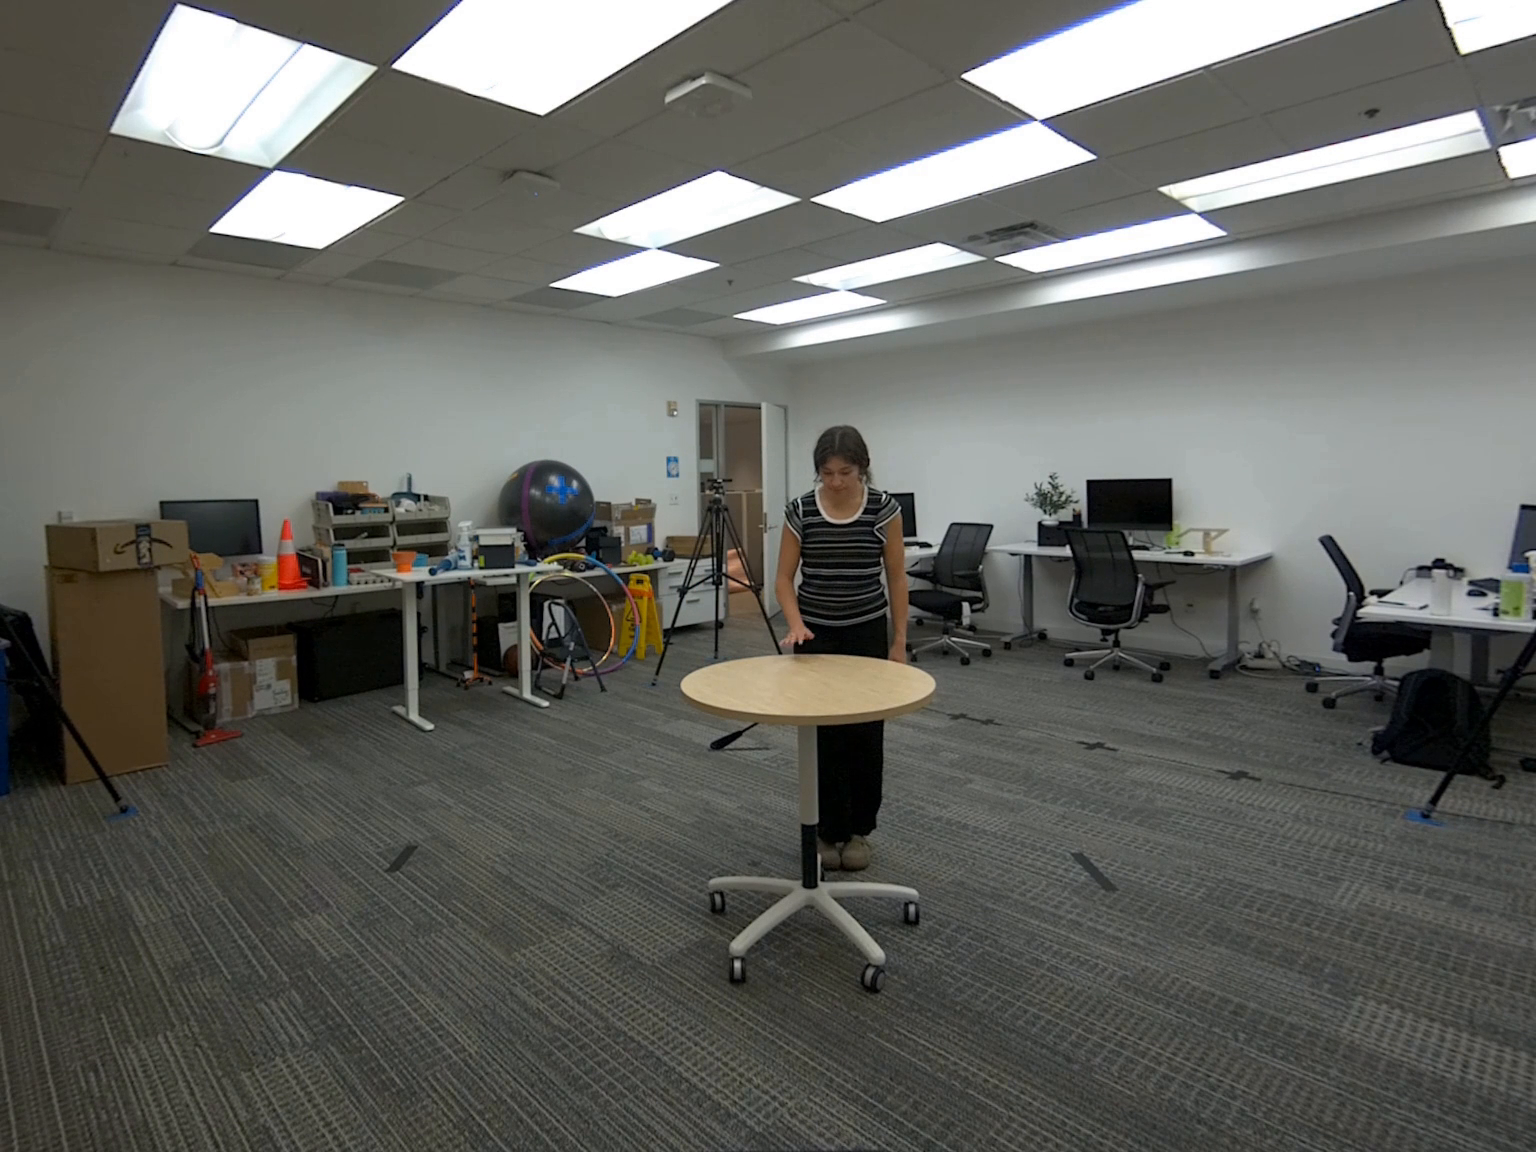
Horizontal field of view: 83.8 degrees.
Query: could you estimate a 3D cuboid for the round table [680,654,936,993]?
[{"bbox_3d":[0.128,0.712,2.616,0.763,0.791,0.768,-2,5,-2],"label":"round table"}]
